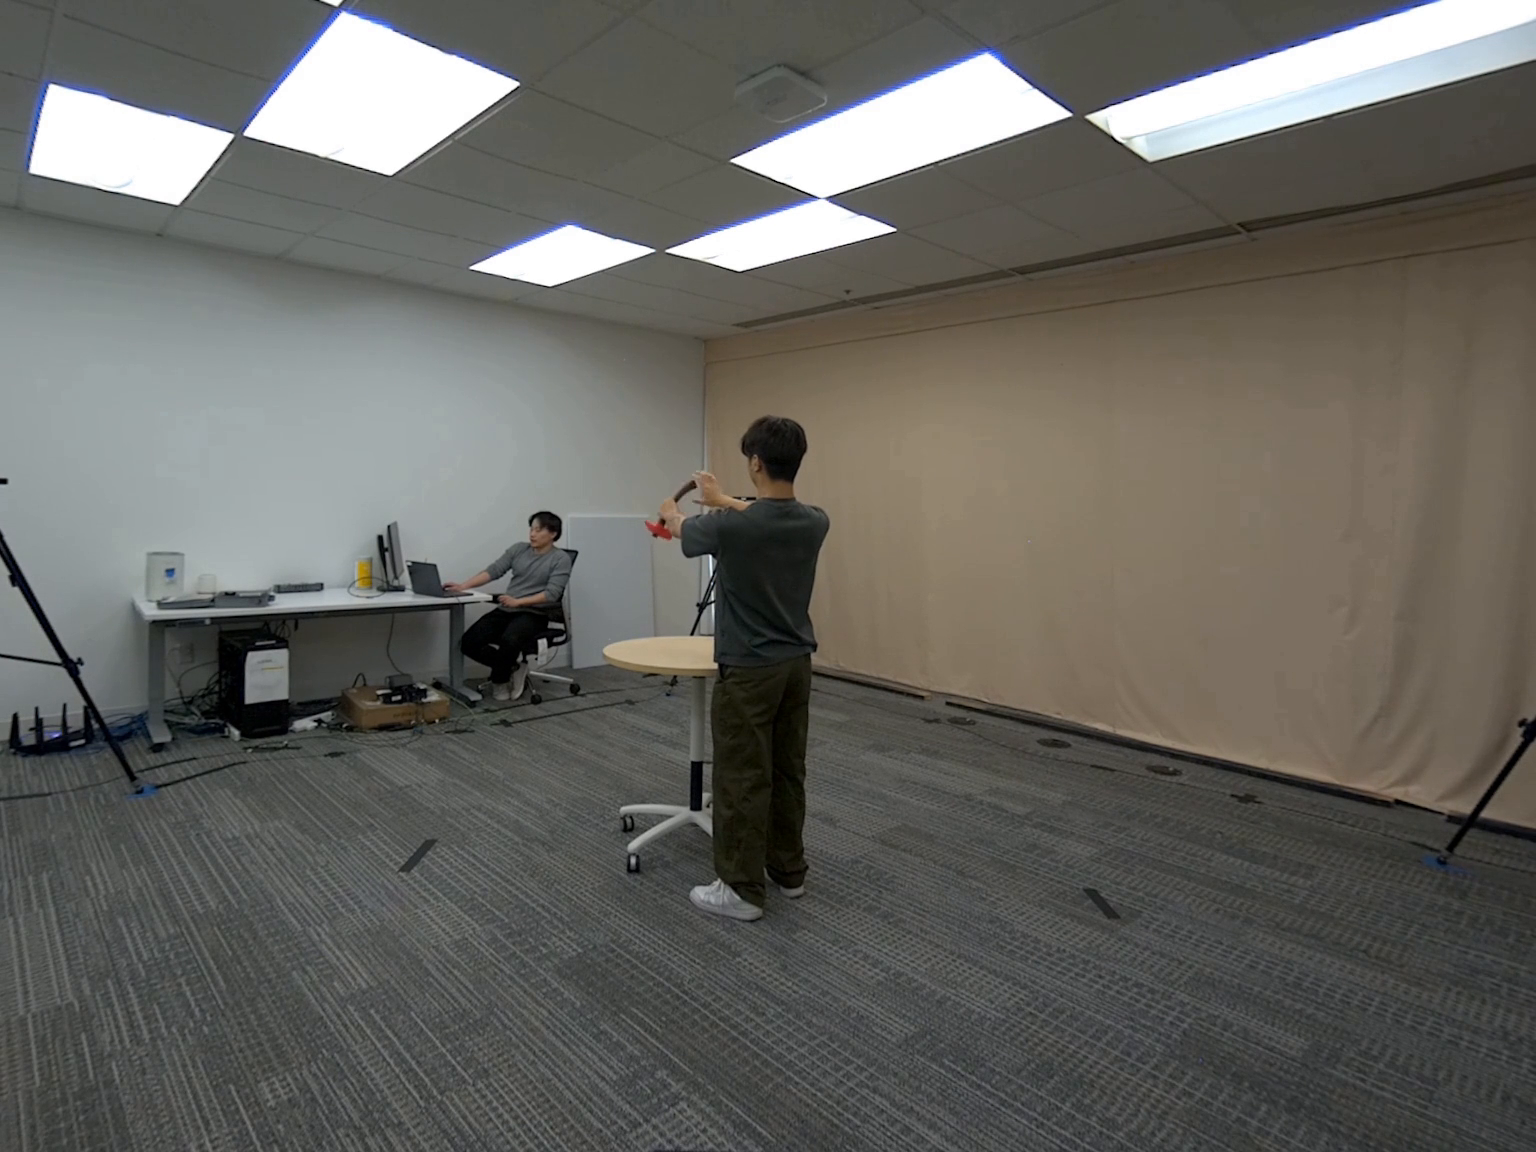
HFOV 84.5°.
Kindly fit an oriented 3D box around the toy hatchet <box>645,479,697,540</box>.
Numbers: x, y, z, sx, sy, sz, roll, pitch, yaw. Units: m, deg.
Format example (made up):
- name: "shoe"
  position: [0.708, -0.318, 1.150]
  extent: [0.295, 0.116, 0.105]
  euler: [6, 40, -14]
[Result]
- name: "toy hatchet"
  position: [-0.357, -0.245, 3.276]
  extent: [0.270, 0.129, 0.030]
  euler: [-44, 17, -18]
